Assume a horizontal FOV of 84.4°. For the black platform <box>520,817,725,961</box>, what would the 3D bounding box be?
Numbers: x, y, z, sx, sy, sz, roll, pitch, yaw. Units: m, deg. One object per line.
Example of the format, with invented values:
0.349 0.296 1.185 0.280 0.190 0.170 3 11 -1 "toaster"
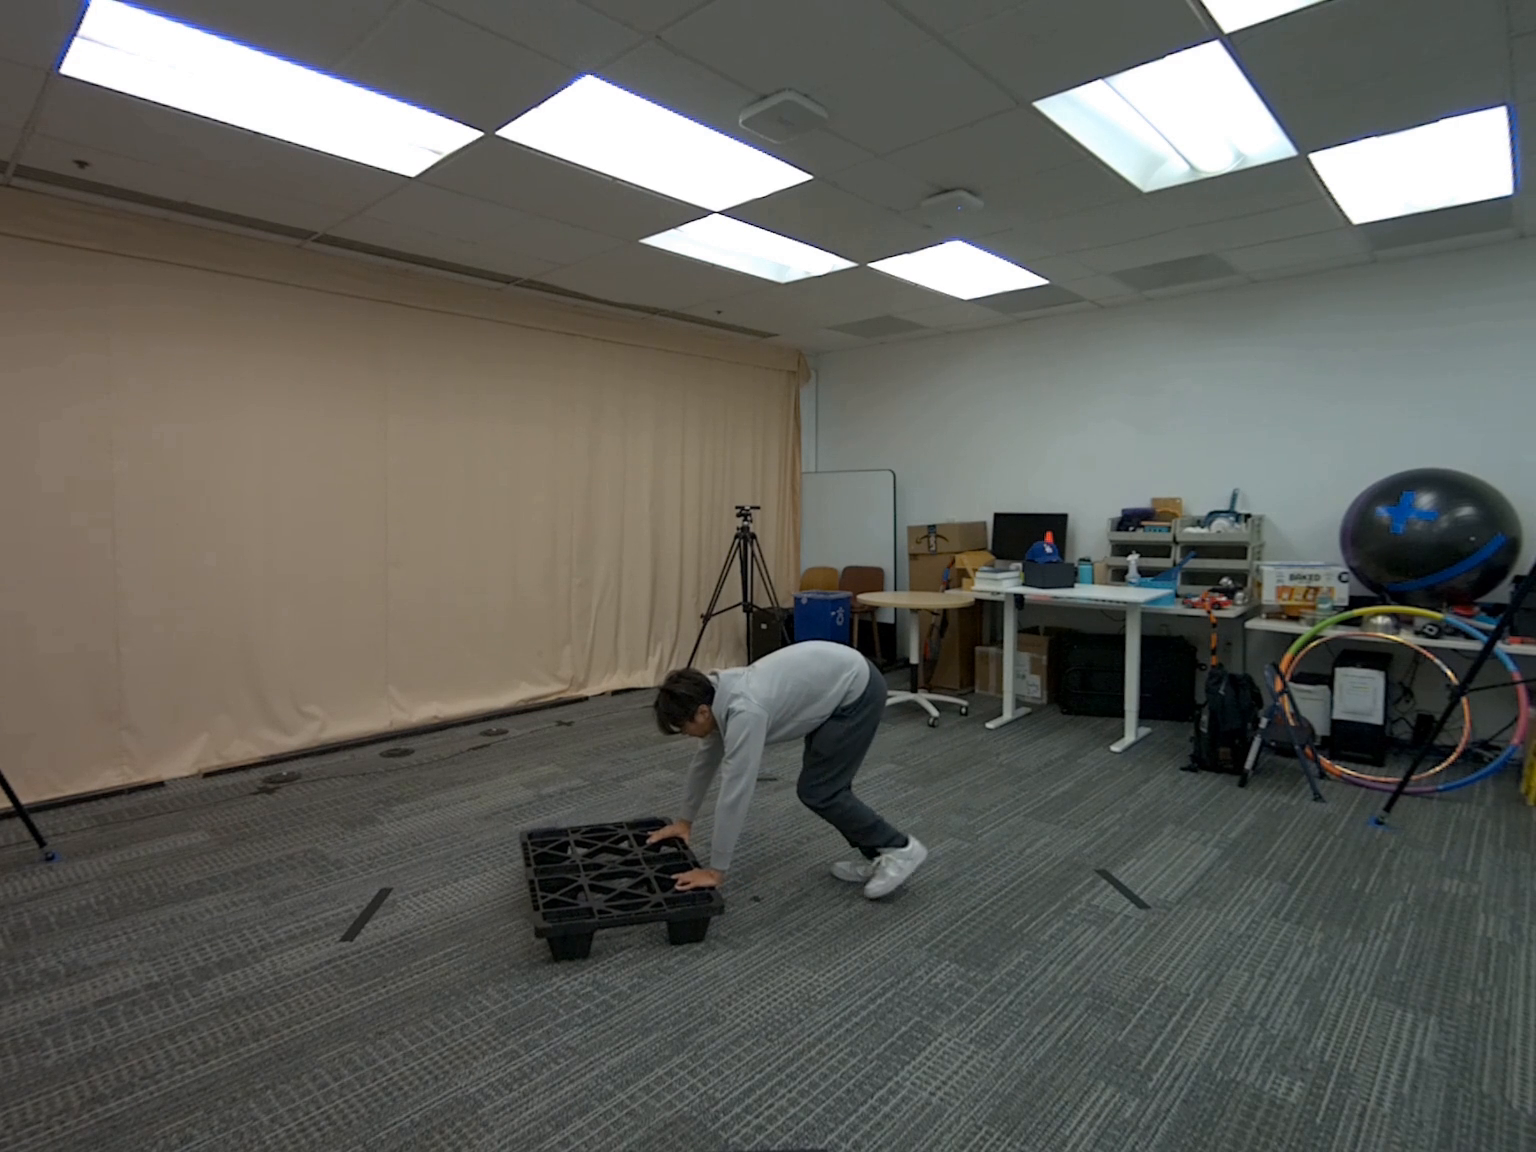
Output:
-0.551 1.080 2.968 0.594 0.143 0.822 -2 5 -18 "black platform"
